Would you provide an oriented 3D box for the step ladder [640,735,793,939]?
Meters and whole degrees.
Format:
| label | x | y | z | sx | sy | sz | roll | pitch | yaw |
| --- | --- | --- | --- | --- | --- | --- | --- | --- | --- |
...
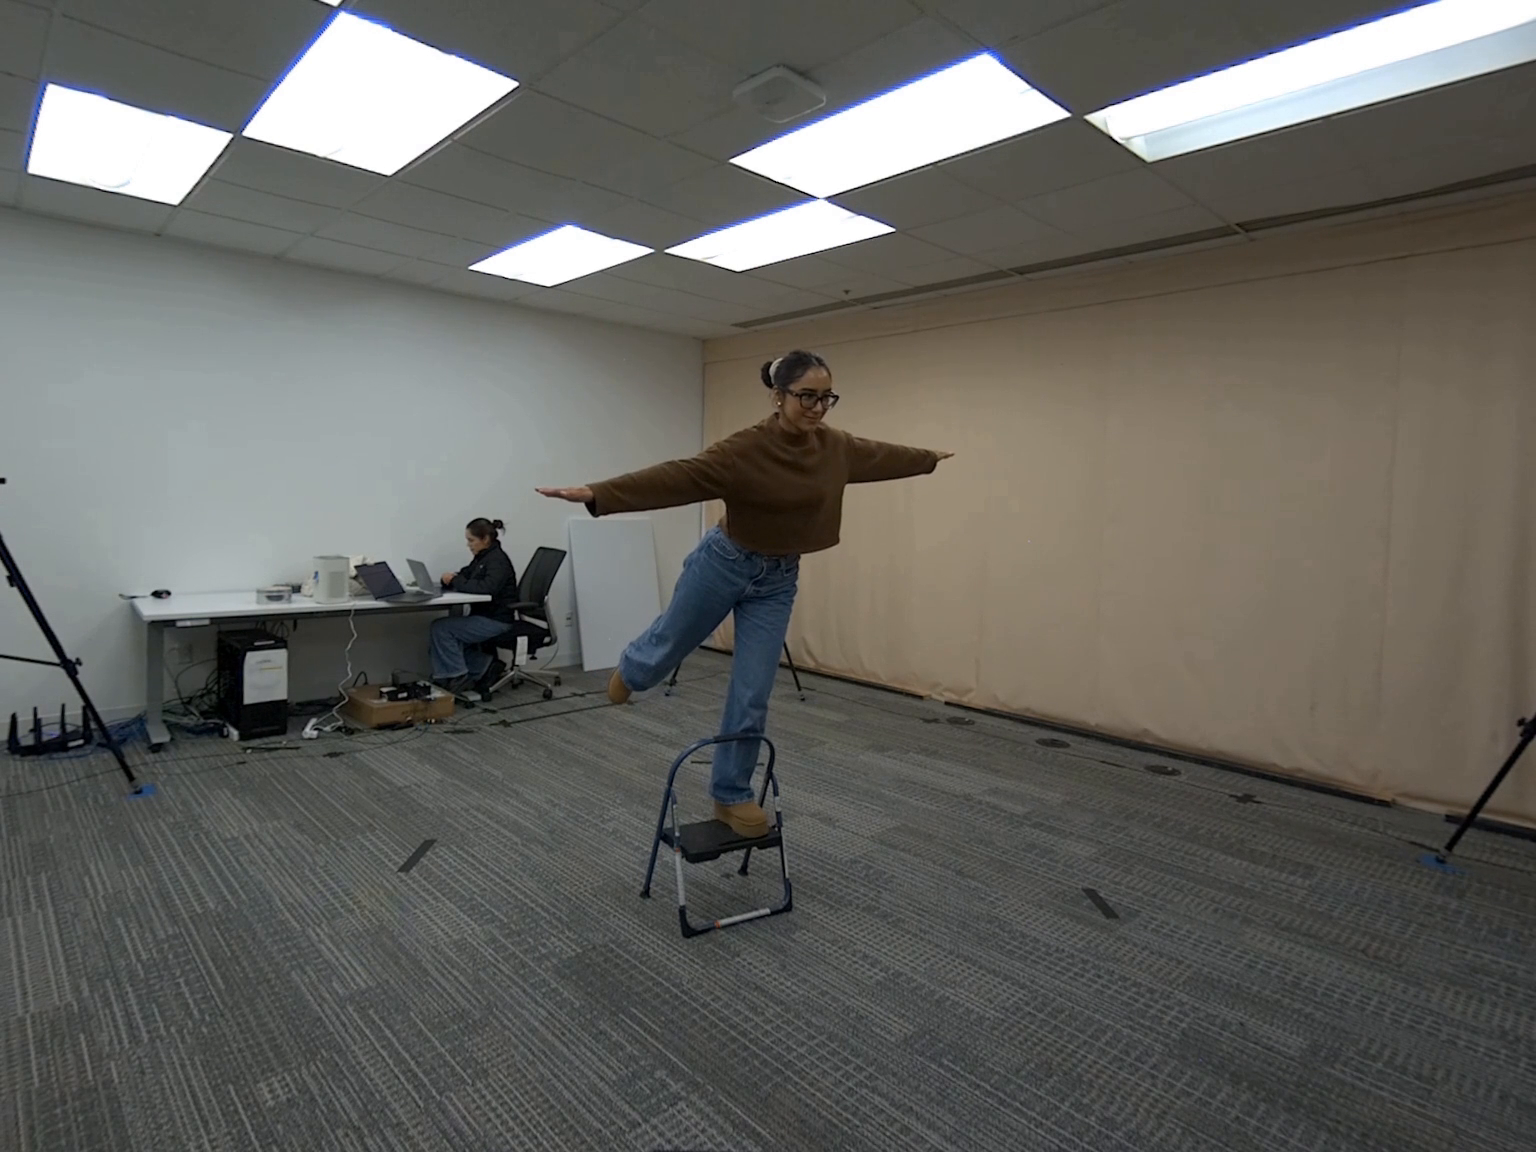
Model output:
| label | x | y | z | sx | sy | sz | roll | pitch | yaw |
| --- | --- | --- | --- | --- | --- | --- | --- | --- | --- |
| step ladder | -0.177 | 0.826 | 2.879 | 0.421 | 0.604 | 0.357 | -1 | 4 | -32 |
